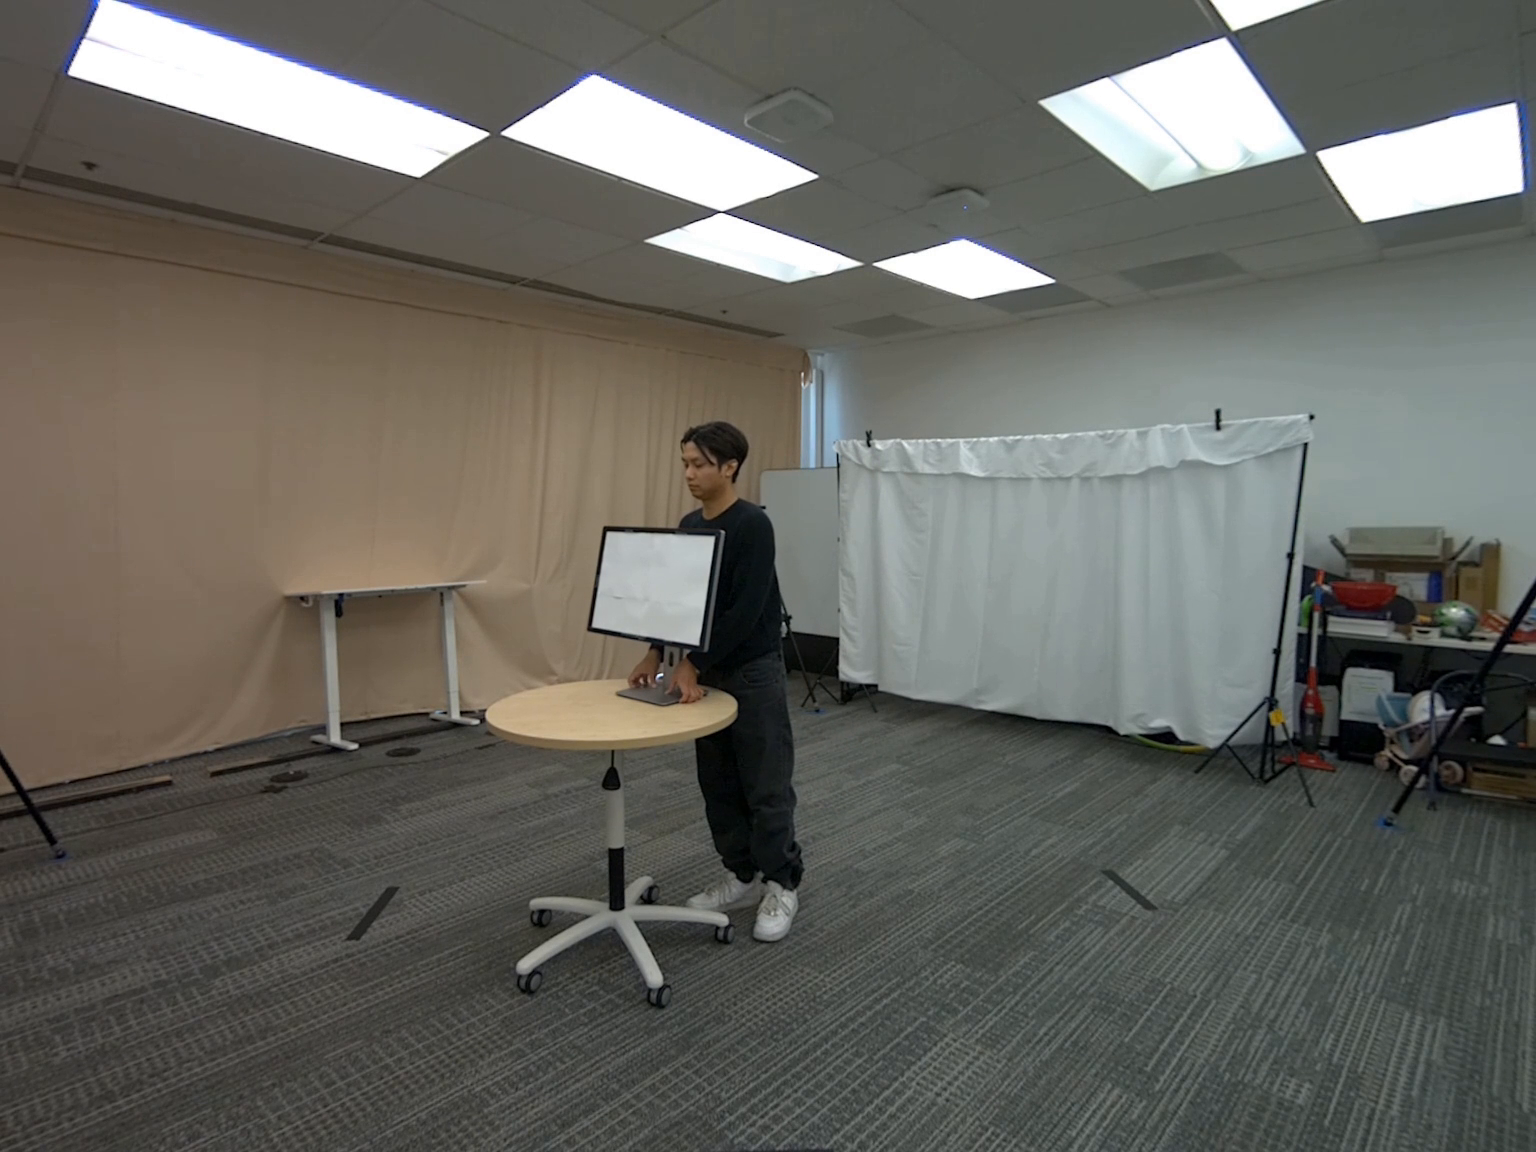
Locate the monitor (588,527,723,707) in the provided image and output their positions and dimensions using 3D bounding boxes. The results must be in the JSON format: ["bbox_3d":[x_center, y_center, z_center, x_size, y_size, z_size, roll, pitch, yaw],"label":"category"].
[{"bbox_3d":[-0.345,0.121,2.718,0.557,0.521,0.181,4,5,39],"label":"monitor"}]
